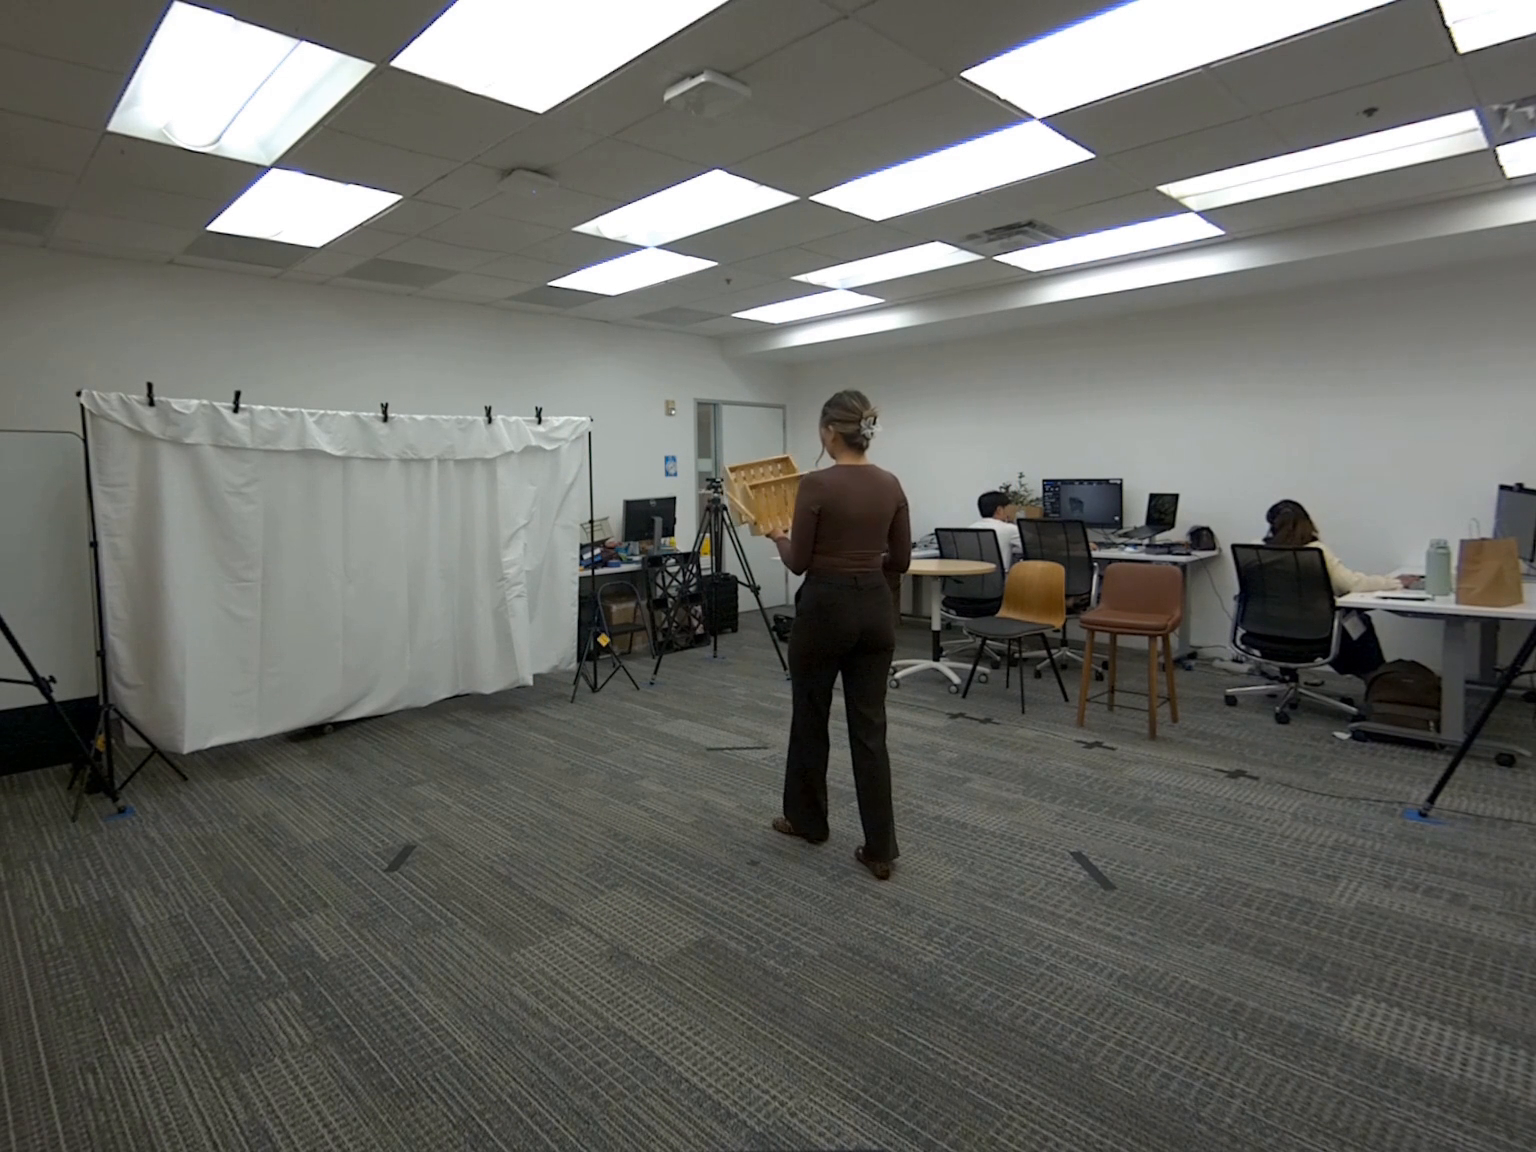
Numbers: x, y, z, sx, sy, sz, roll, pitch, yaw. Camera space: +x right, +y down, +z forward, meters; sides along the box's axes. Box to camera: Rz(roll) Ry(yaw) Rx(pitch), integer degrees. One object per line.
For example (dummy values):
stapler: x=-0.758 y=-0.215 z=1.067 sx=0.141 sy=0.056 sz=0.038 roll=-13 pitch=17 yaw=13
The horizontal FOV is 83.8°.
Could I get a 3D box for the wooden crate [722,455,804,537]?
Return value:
wooden crate: x=0.028 y=-0.339 z=3.489 sx=0.319 sy=0.301 sz=0.278 roll=-14 pitch=4 yaw=-22
